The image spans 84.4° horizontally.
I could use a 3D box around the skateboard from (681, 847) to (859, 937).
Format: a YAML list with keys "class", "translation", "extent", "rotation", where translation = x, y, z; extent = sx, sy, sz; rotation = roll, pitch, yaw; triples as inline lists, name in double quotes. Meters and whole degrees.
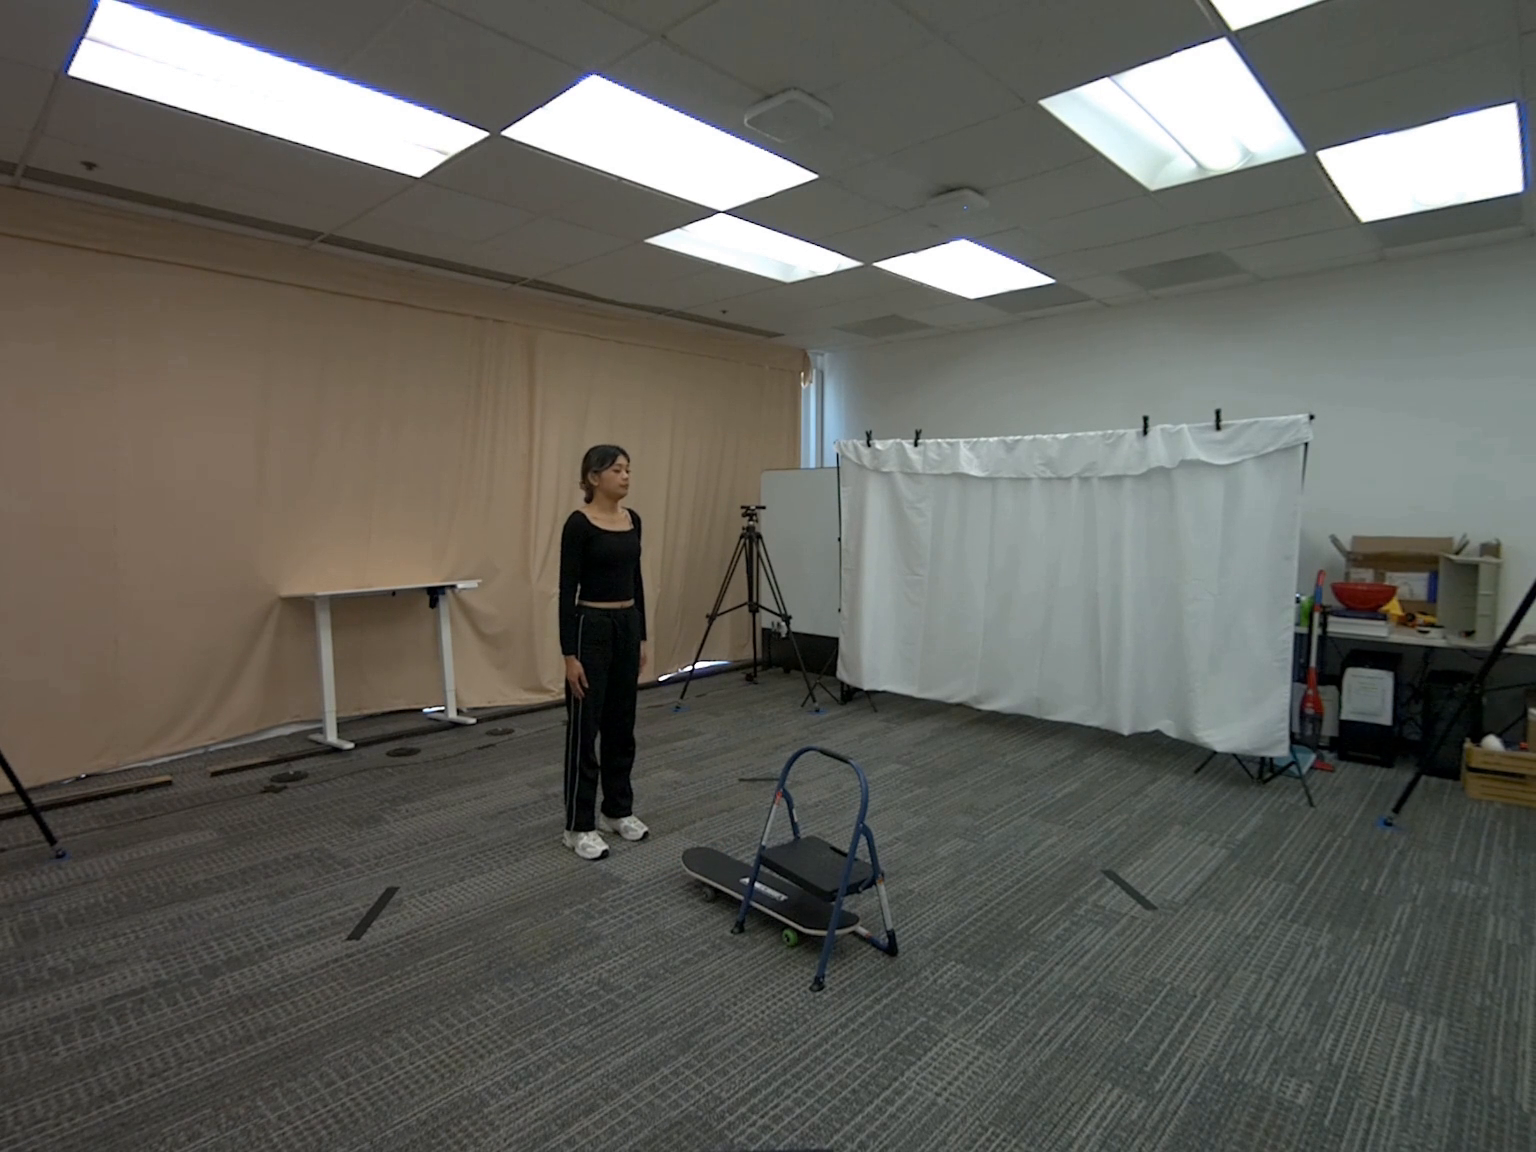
- class: "skateboard"
  translation: [-0.011, 1.094, 2.865]
  extent: [0.187, 0.110, 0.812]
  rotation: [-2, 5, -43]
